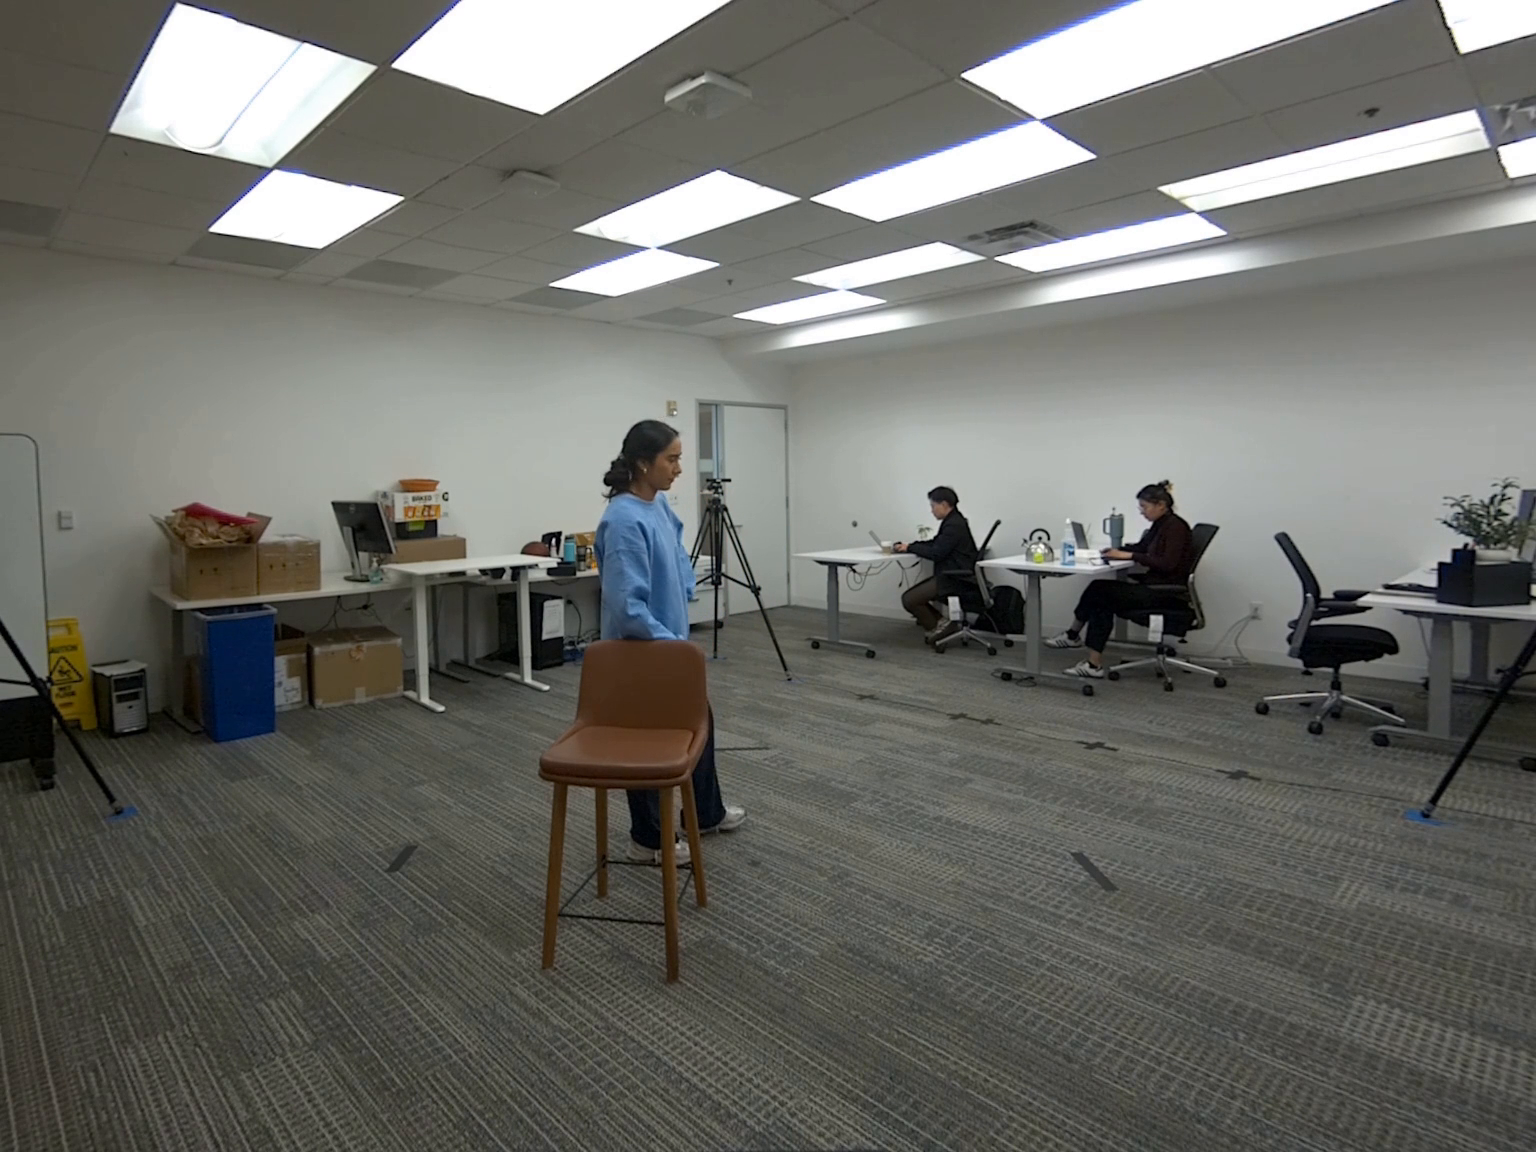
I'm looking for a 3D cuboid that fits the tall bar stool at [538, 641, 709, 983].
[{"bbox_3d":[-0.425,0.677,2.615,0.462,0.888,0.463,0,2,11],"label":"tall bar stool"}]
